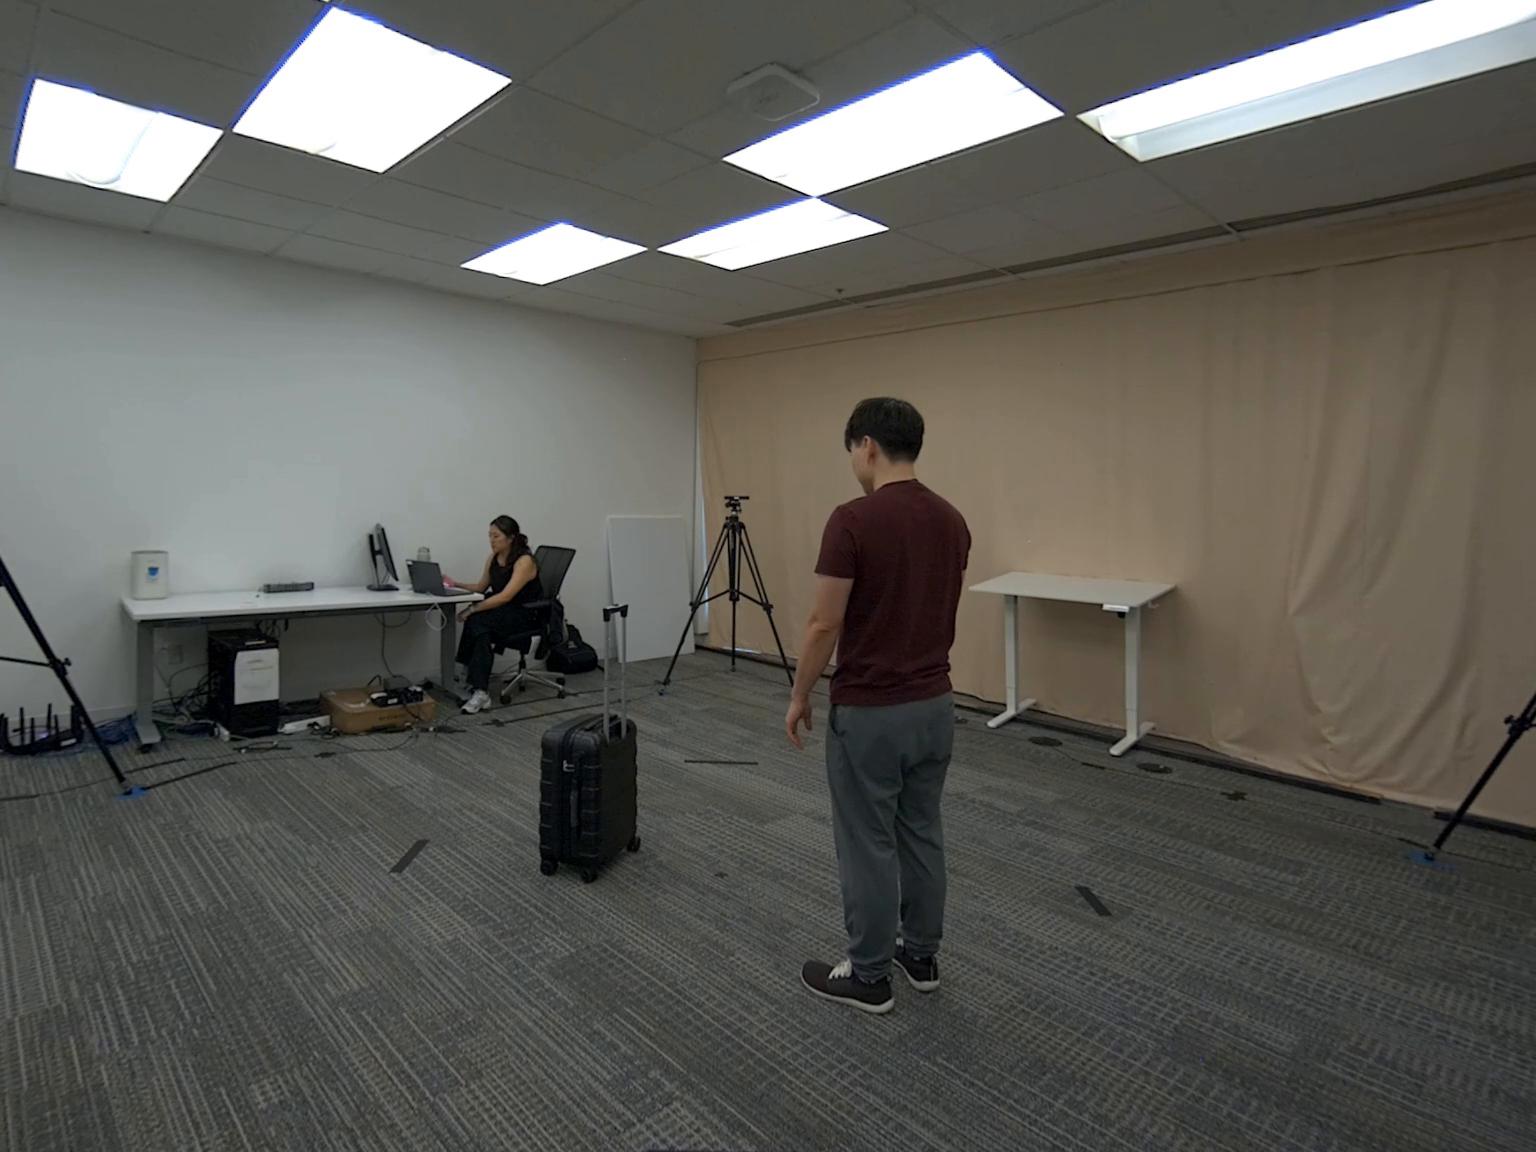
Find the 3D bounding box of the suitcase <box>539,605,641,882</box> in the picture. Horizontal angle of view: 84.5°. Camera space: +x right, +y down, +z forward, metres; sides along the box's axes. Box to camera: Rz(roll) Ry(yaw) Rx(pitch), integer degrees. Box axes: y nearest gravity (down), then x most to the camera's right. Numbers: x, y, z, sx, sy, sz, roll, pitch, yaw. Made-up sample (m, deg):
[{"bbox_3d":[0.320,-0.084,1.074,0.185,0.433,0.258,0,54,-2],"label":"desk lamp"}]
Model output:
[{"bbox_3d":[-0.683,0.609,3.165,0.261,0.977,0.379,-1,2,18],"label":"suitcase"}]
